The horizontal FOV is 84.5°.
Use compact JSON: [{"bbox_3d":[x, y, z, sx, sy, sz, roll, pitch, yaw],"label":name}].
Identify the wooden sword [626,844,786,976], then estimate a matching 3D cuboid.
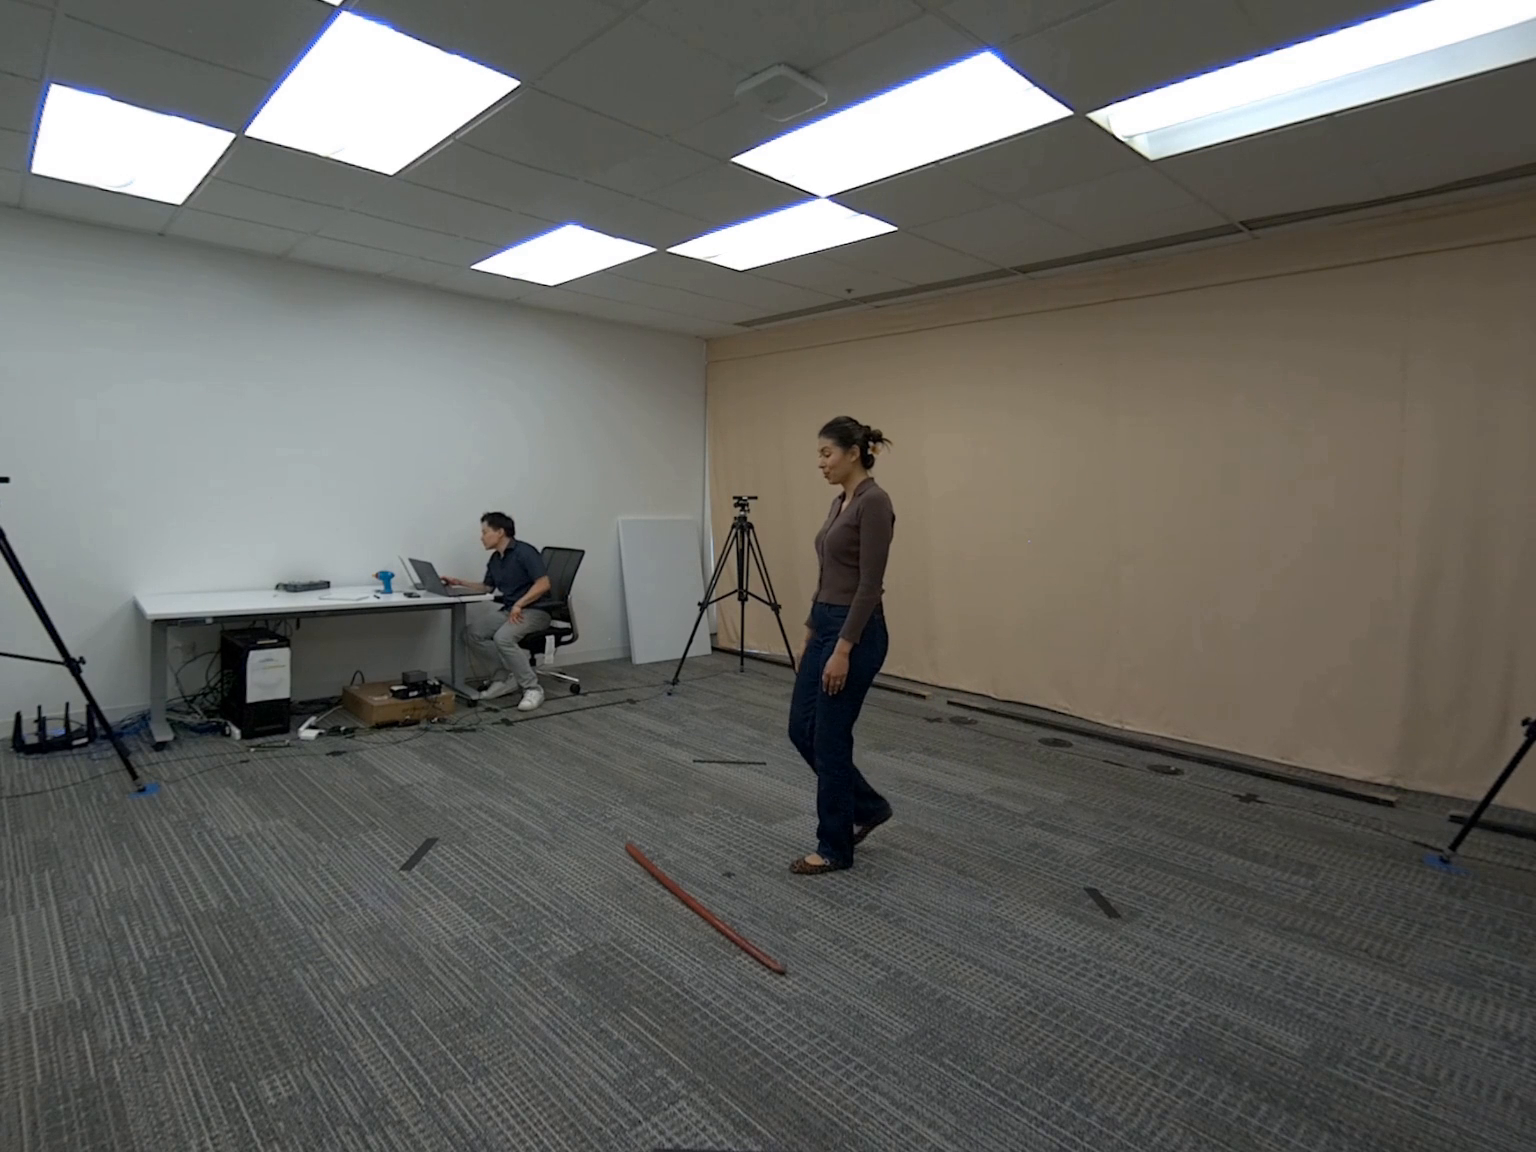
[{"bbox_3d":[-0.259,1.101,2.879,0.051,0.023,1.050,-40,26,-23],"label":"wooden sword"}]
